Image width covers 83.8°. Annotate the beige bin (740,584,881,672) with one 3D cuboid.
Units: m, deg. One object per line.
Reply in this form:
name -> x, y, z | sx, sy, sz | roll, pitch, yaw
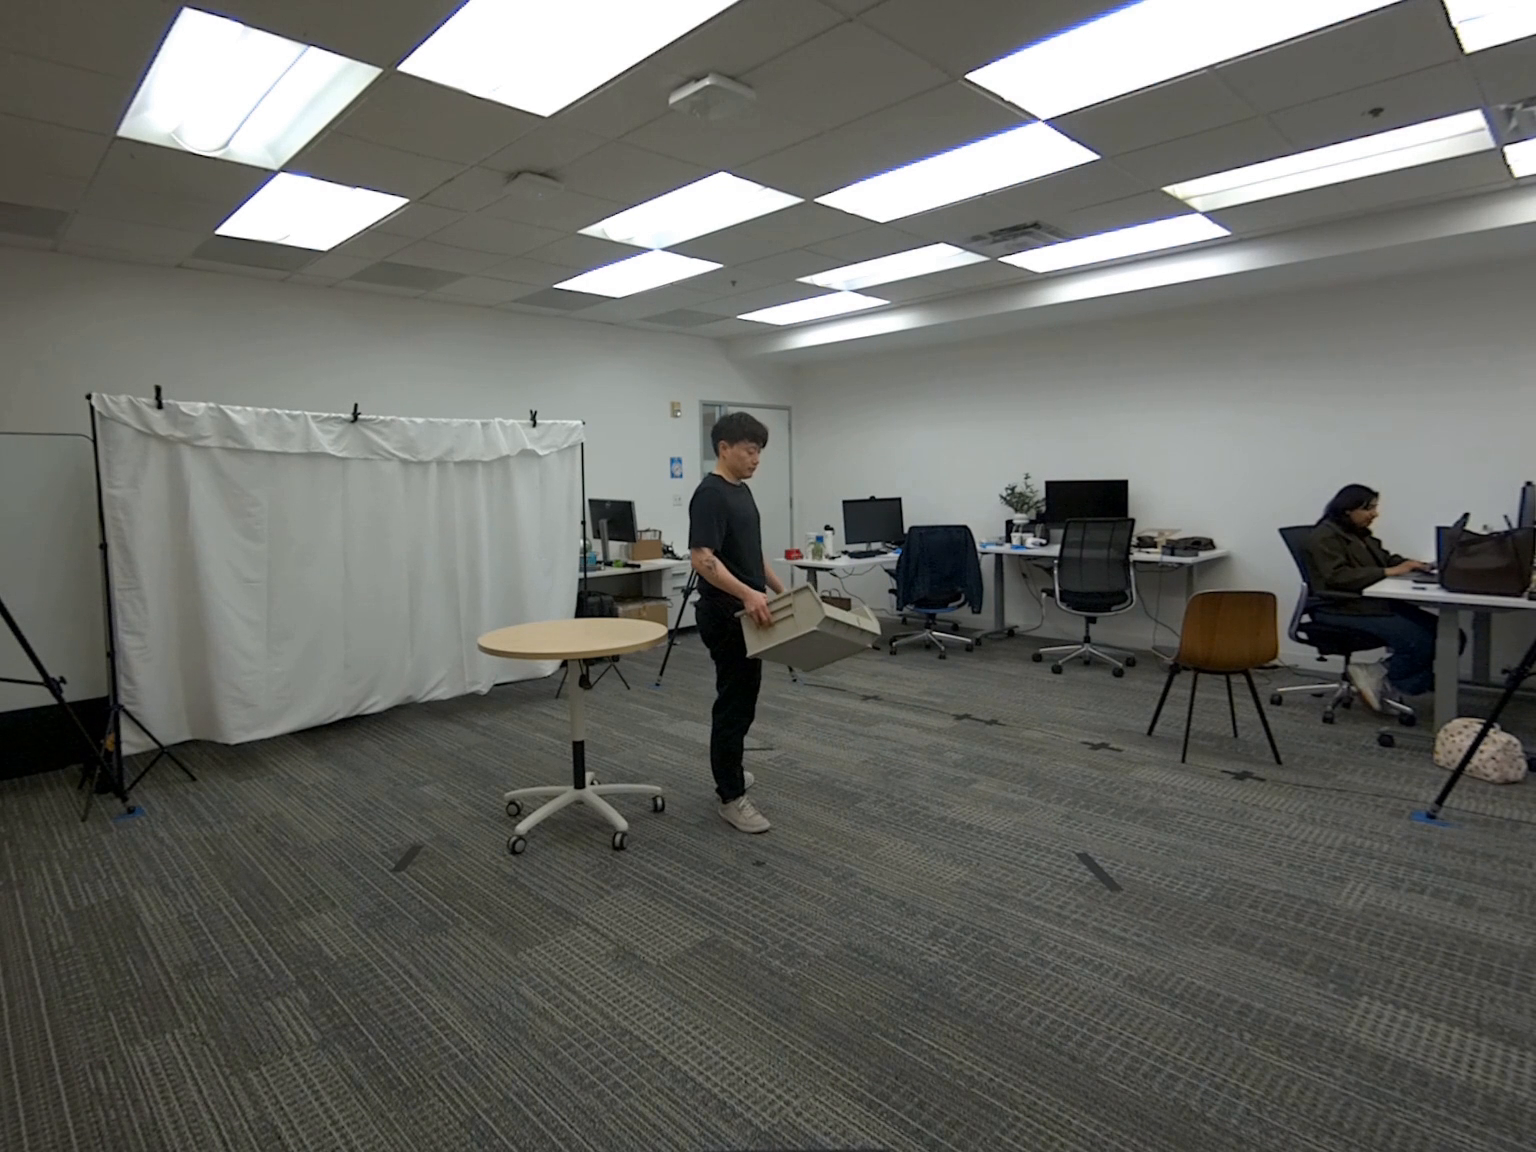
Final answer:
beige bin -> 0.158, 0.203, 3.274 | 0.382, 0.194, 0.407 | -26, -28, 30
